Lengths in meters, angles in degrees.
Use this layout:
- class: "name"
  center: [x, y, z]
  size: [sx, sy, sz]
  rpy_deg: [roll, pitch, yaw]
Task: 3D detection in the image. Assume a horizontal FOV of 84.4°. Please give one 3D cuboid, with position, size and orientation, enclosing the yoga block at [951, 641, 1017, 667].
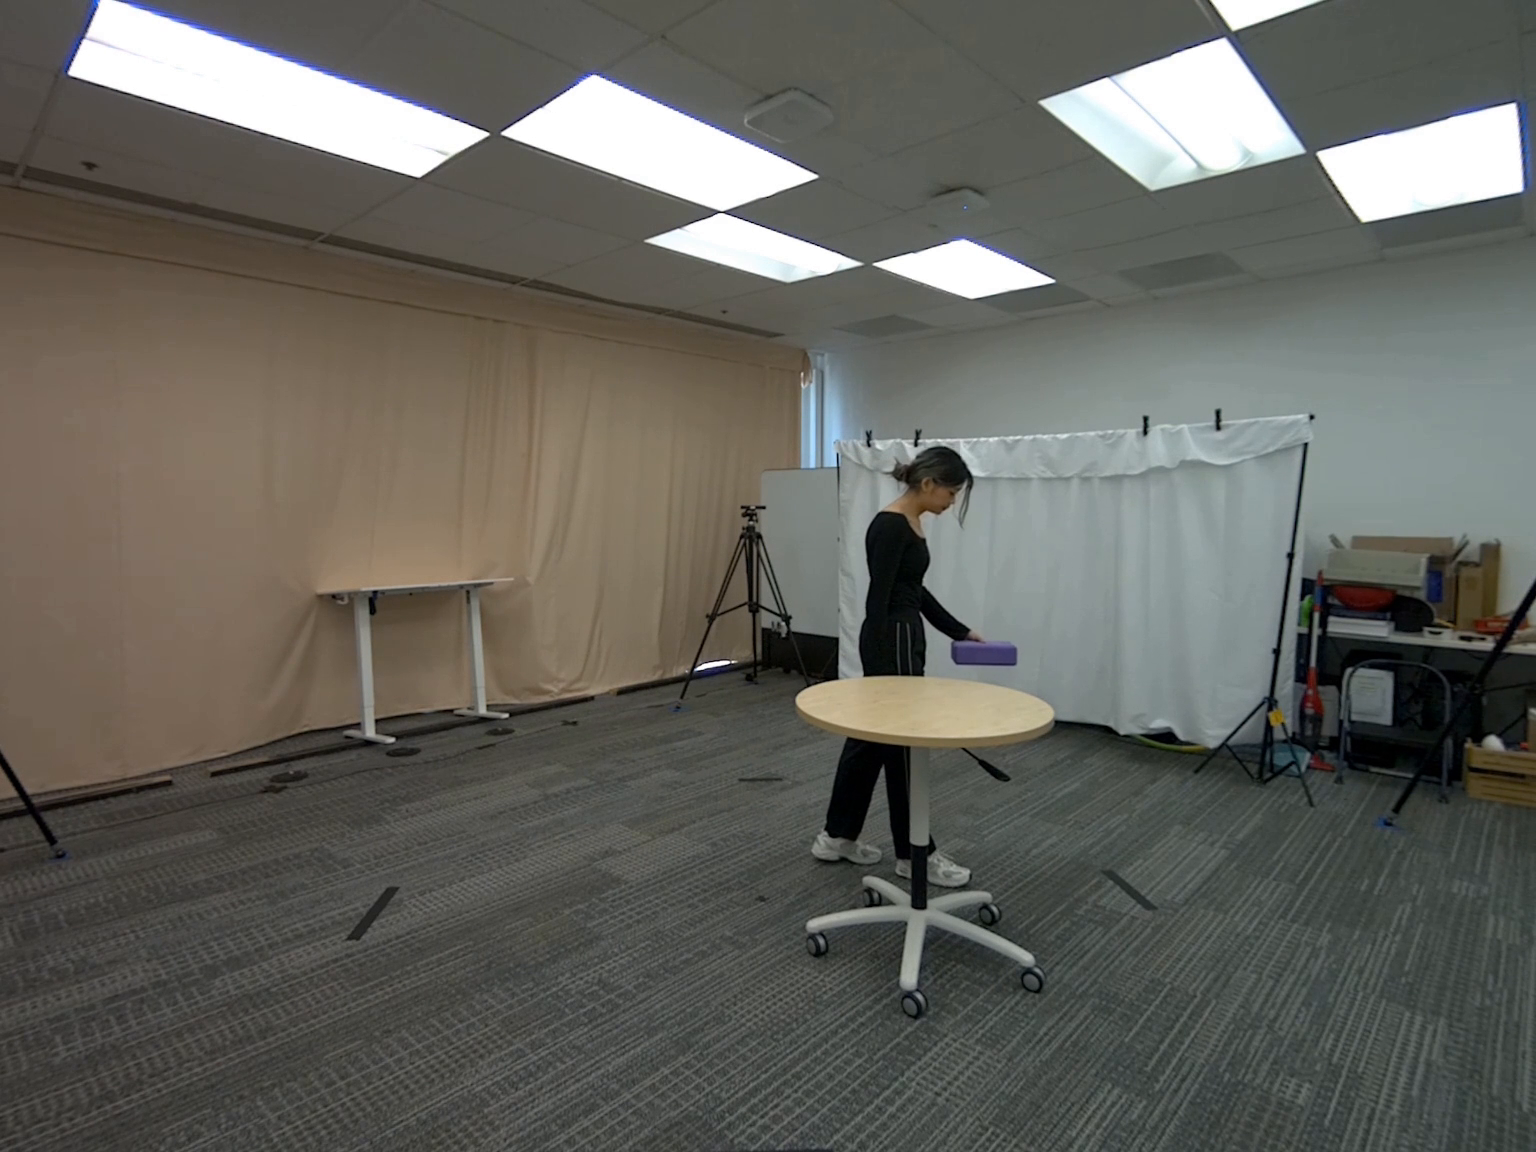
- class: "yoga block"
  center: [0.841, 0.301, 3.246]
  size: [0.233, 0.076, 0.147]
  rpy_deg: [1, 2, 14]
